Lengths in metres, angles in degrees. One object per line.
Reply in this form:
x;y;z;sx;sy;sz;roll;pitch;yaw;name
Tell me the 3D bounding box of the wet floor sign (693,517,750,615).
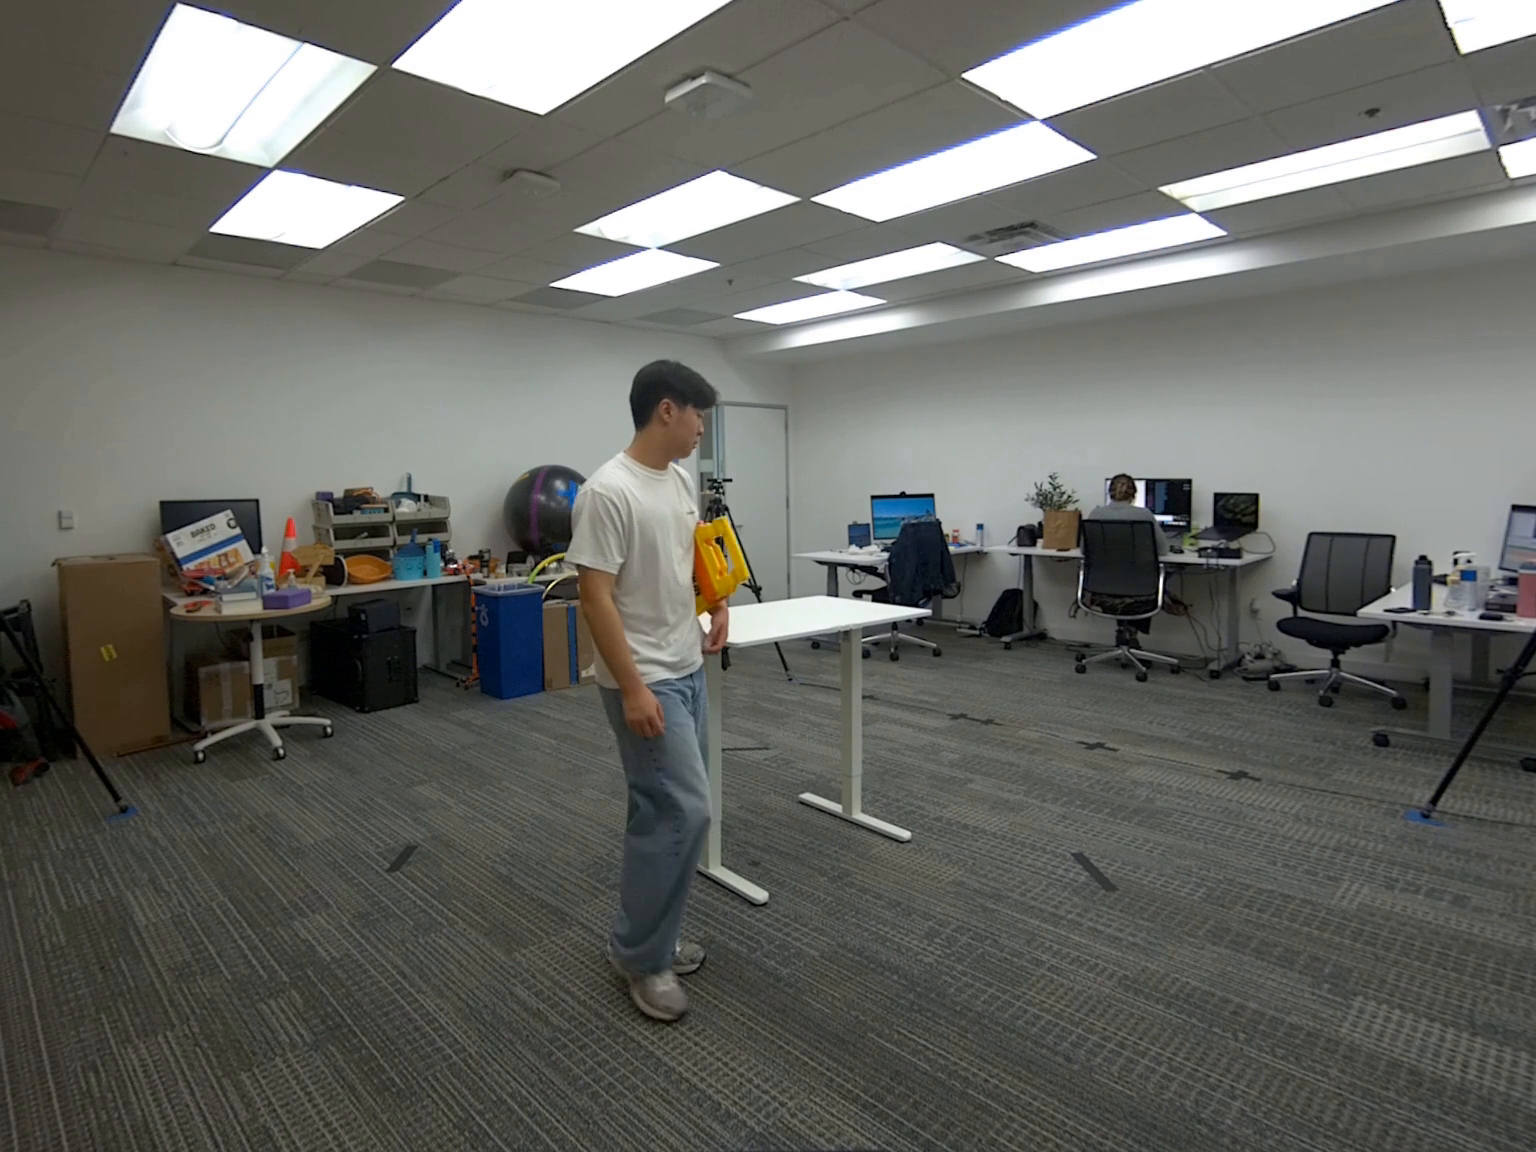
-0.301;0.038;2.634;0.653;0.285;0.283;-28;-8;36;wet floor sign
